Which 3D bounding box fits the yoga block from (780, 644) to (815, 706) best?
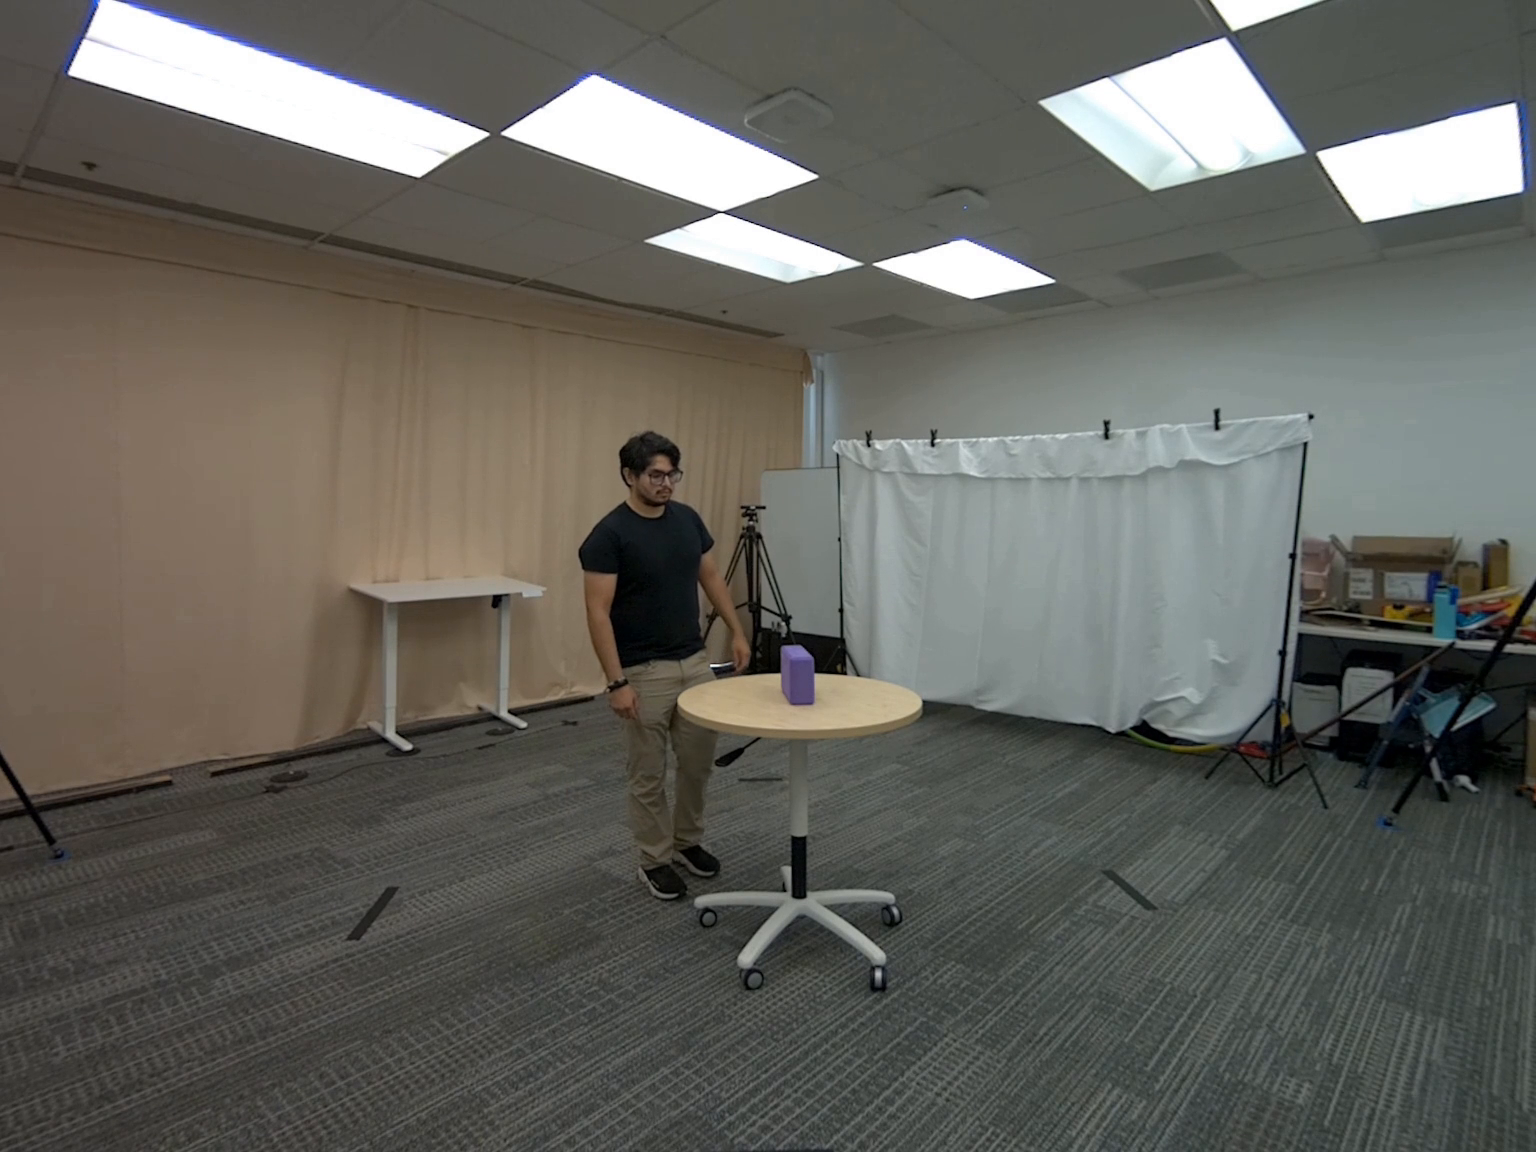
[{"bbox_3d":[0.097,0.312,2.665,0.076,0.149,0.230,0,4,-5],"label":"yoga block"}]
